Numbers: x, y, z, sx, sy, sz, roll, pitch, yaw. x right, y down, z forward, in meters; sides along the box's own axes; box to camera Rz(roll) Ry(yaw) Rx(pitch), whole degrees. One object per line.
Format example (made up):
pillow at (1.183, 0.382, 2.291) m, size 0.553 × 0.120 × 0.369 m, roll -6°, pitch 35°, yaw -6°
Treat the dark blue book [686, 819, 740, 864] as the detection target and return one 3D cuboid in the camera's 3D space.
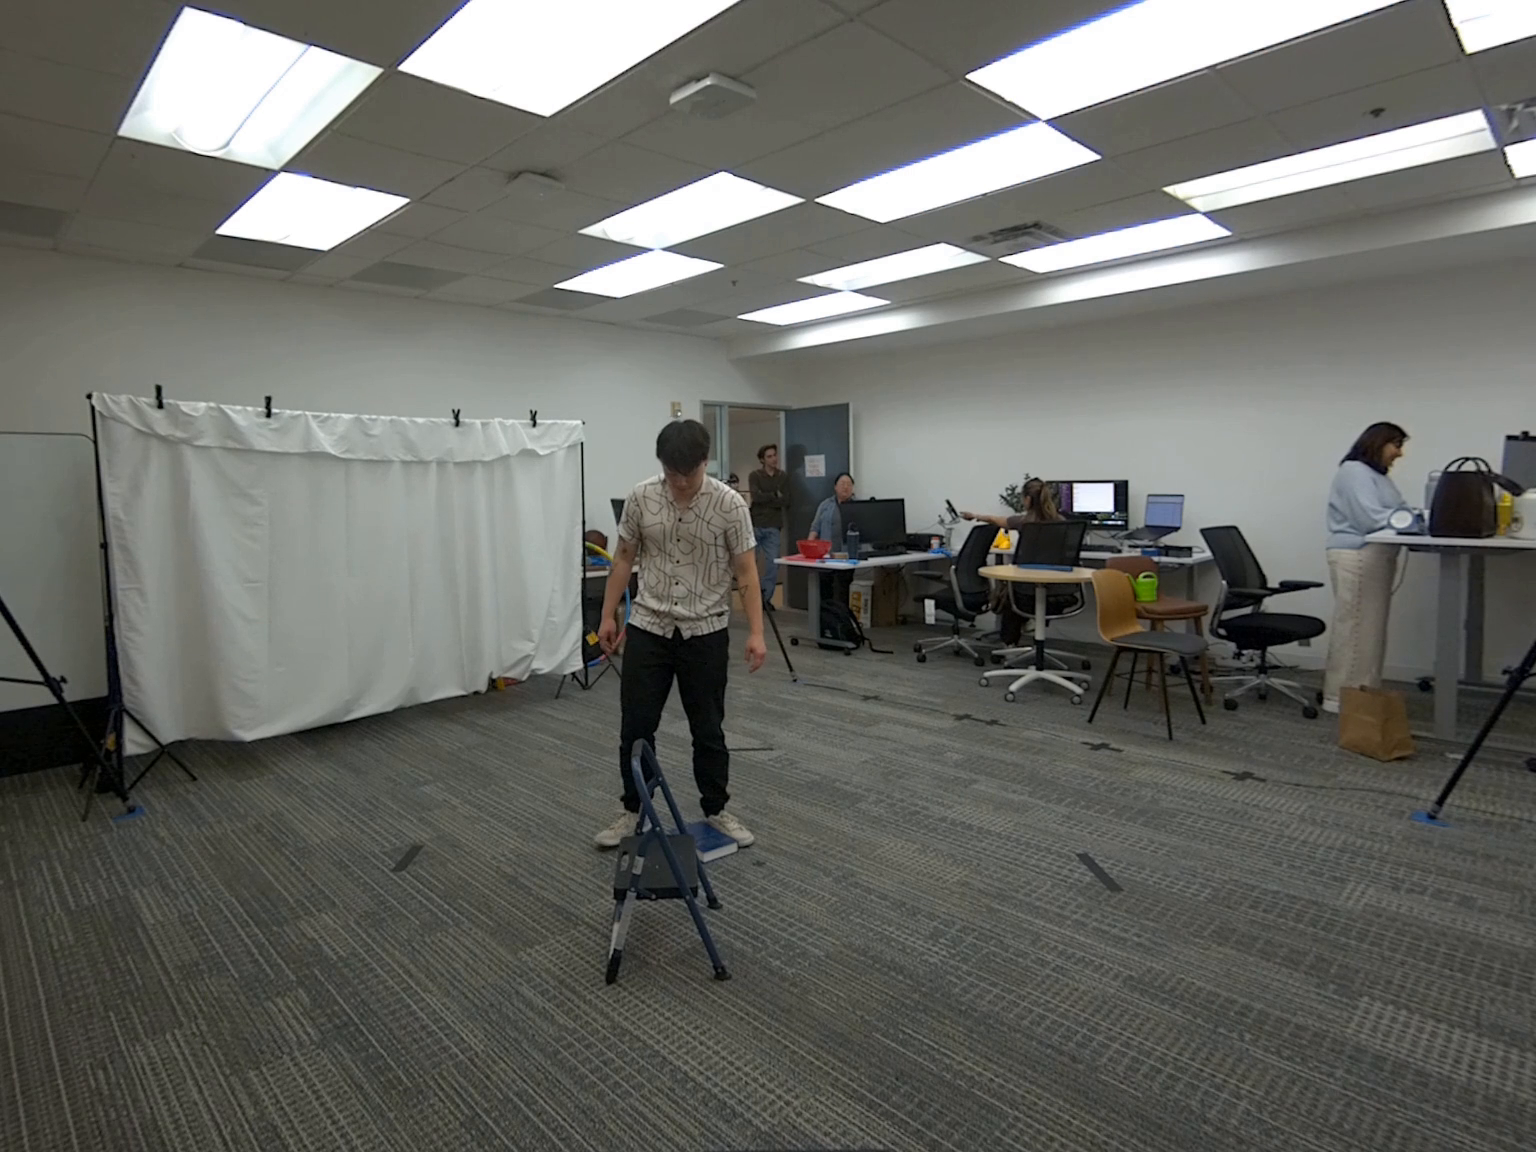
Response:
dark blue book at (-0.252, 1.008, 3.254) m, size 0.159 × 0.045 × 0.253 m, roll -6°, pitch 9°, yaw -38°
